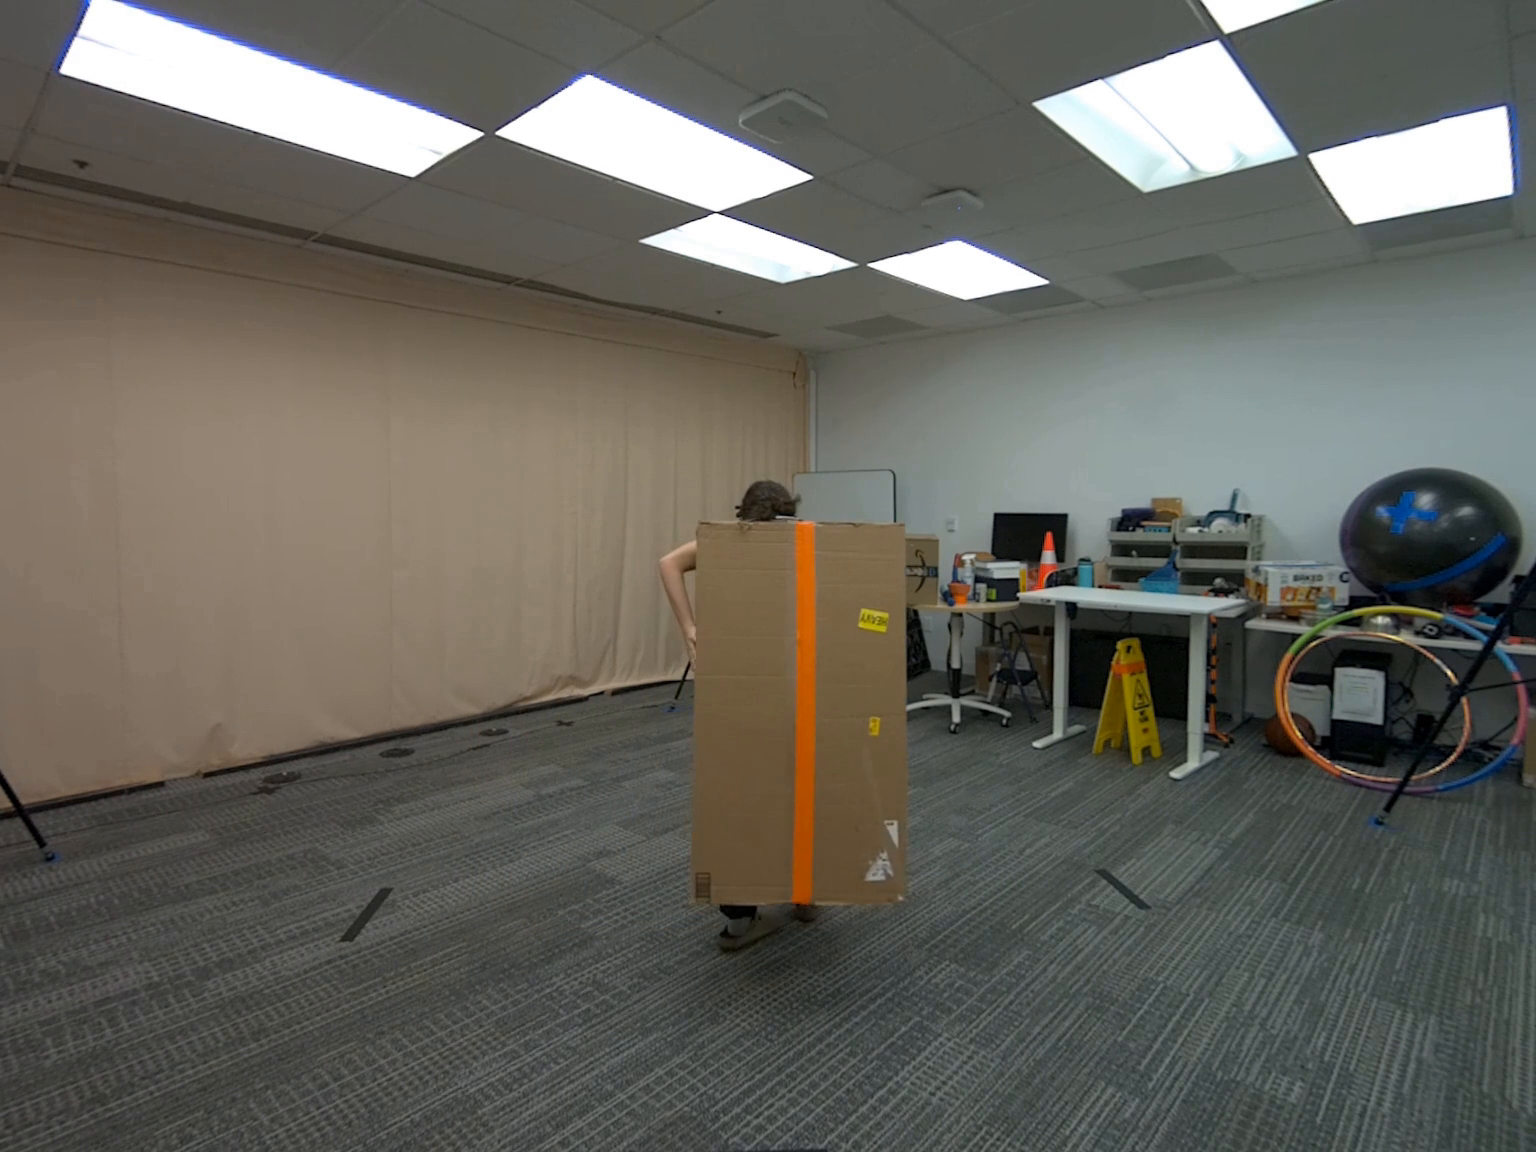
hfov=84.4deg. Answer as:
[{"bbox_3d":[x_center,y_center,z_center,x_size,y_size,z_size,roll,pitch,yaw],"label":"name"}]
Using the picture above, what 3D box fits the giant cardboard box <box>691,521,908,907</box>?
[{"bbox_3d":[0.069,0.376,2.468,0.575,1.028,0.427,1,-3,-4],"label":"giant cardboard box"}]
